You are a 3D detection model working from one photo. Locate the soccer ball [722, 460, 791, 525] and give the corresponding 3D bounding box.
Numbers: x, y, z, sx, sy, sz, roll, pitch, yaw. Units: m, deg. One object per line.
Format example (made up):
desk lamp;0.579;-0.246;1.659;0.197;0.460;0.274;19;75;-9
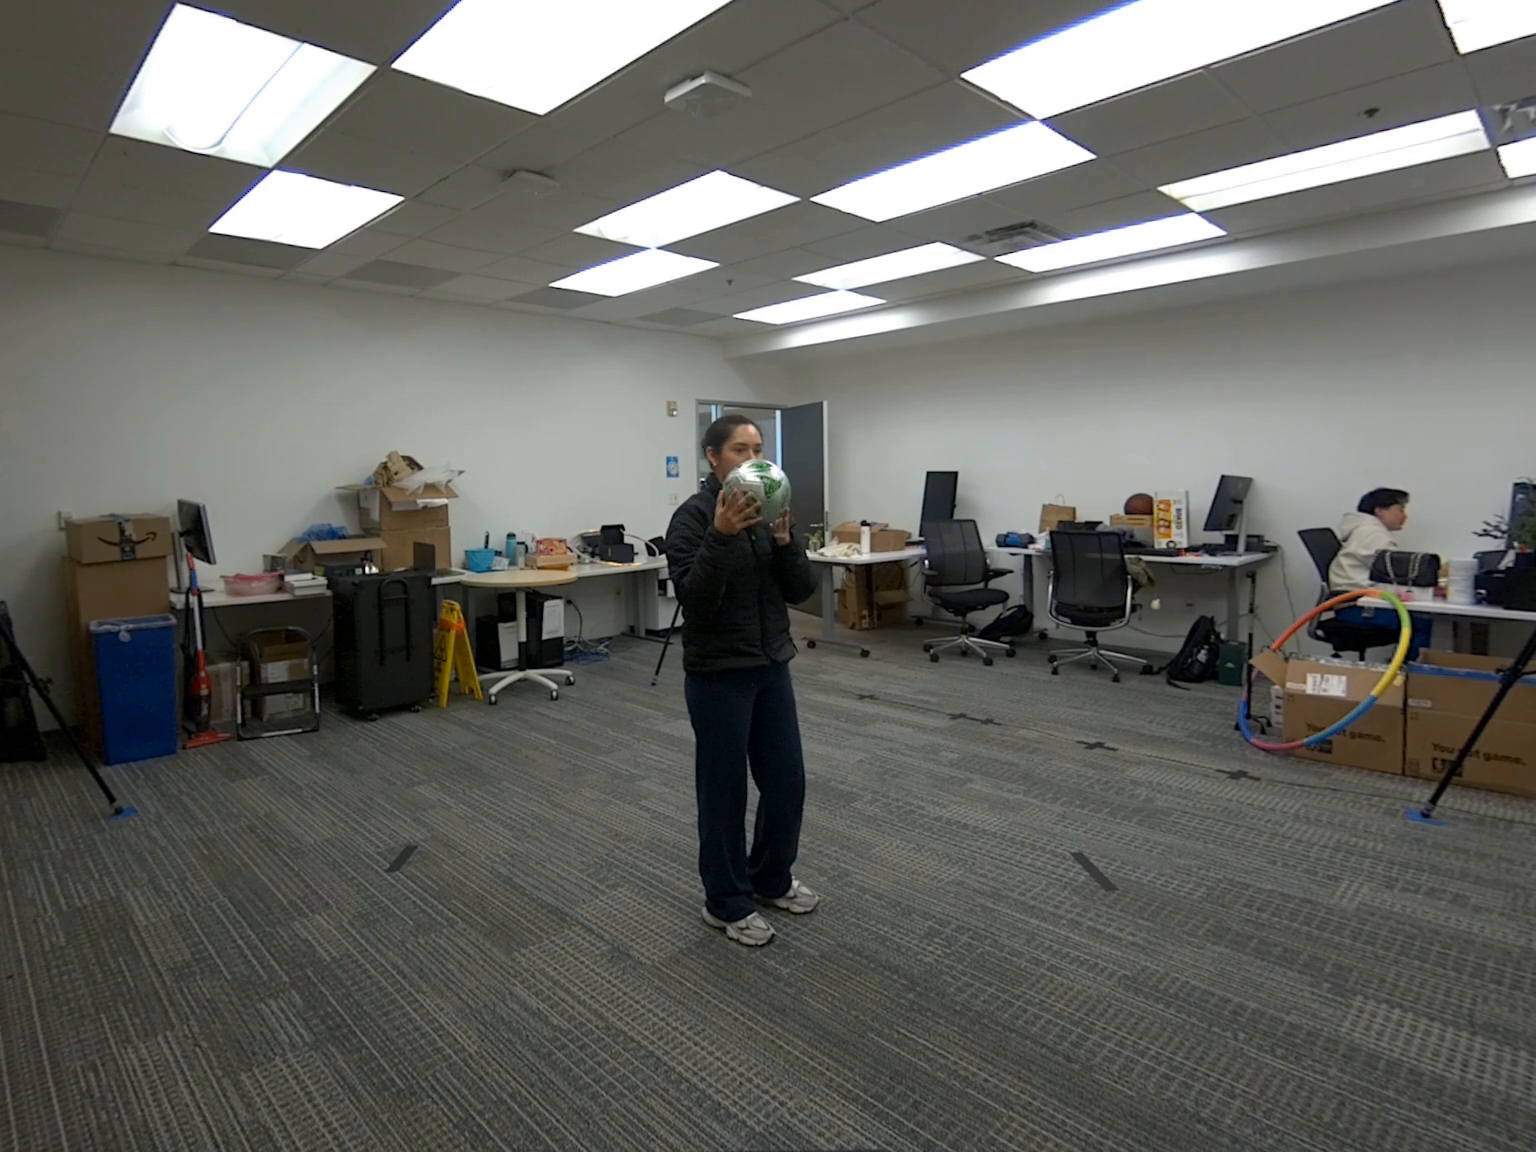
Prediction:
soccer ball;-0.027;-0.220;2.373;0.187;0.187;0.188;-1;5;-2
